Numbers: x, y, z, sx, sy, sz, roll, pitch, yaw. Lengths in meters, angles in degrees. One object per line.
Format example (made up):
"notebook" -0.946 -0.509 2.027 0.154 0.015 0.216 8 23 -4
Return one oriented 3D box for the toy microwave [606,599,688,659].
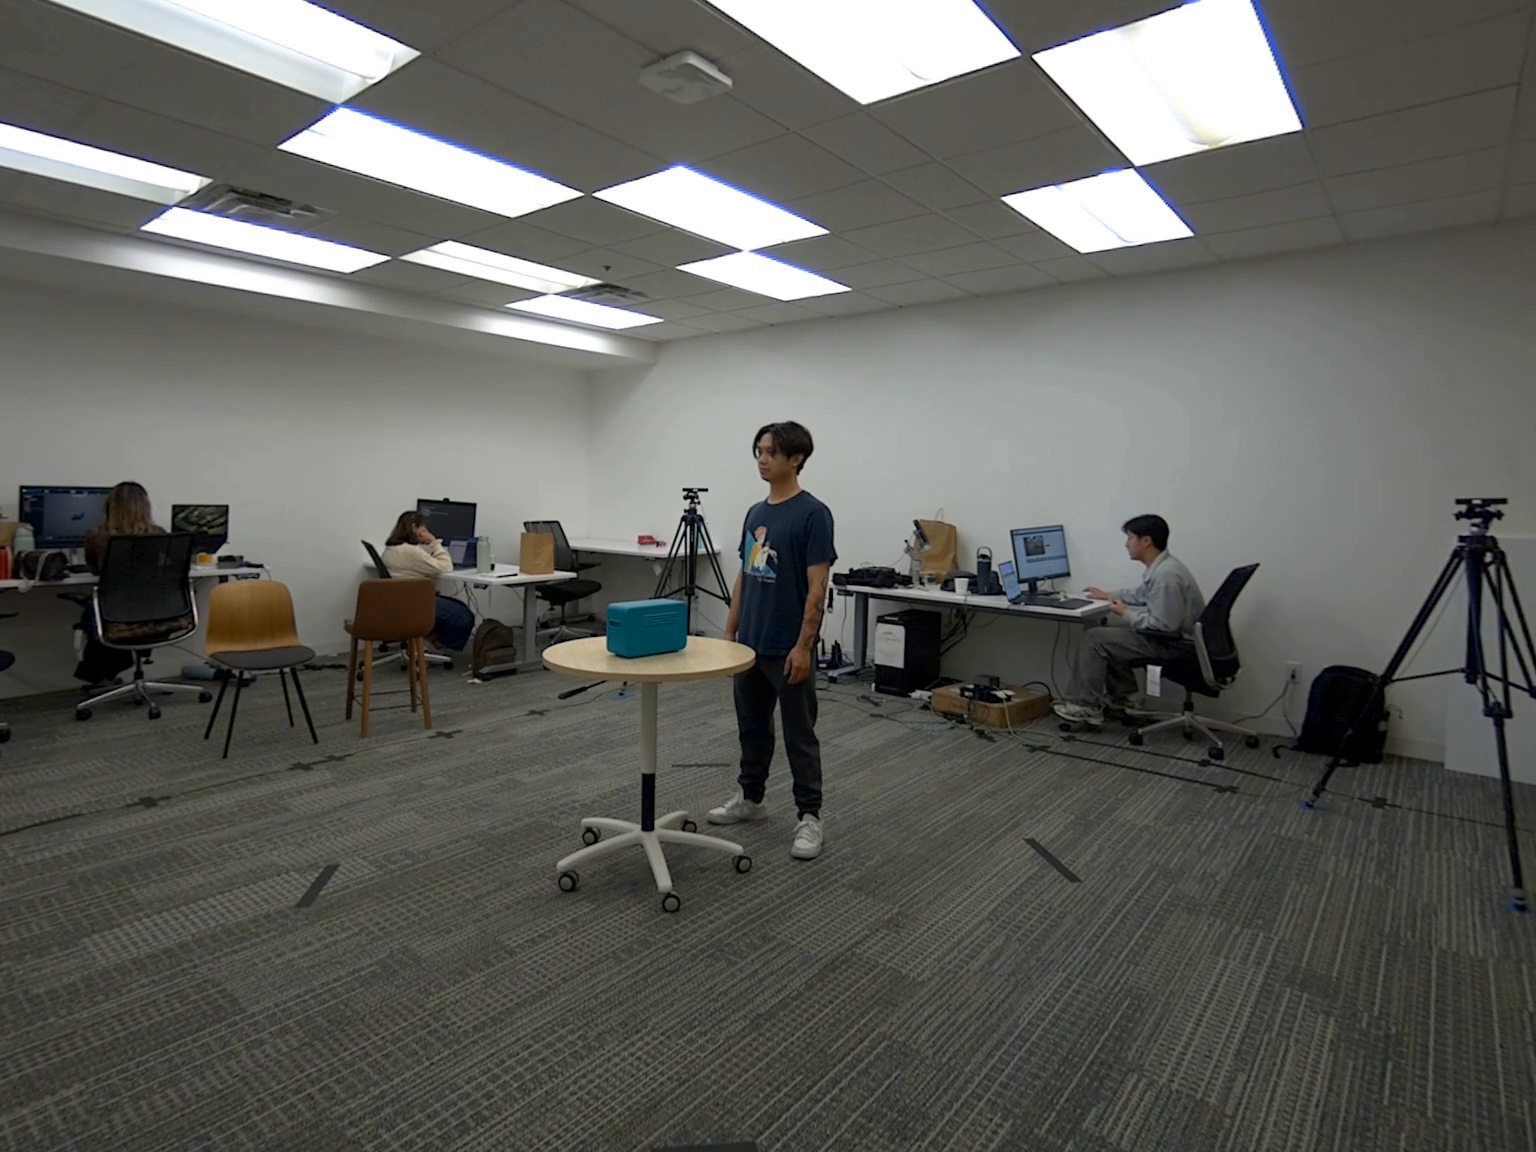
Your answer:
"toy microwave" -0.449 0.183 3.067 0.277 0.183 0.157 -4 6 -44
